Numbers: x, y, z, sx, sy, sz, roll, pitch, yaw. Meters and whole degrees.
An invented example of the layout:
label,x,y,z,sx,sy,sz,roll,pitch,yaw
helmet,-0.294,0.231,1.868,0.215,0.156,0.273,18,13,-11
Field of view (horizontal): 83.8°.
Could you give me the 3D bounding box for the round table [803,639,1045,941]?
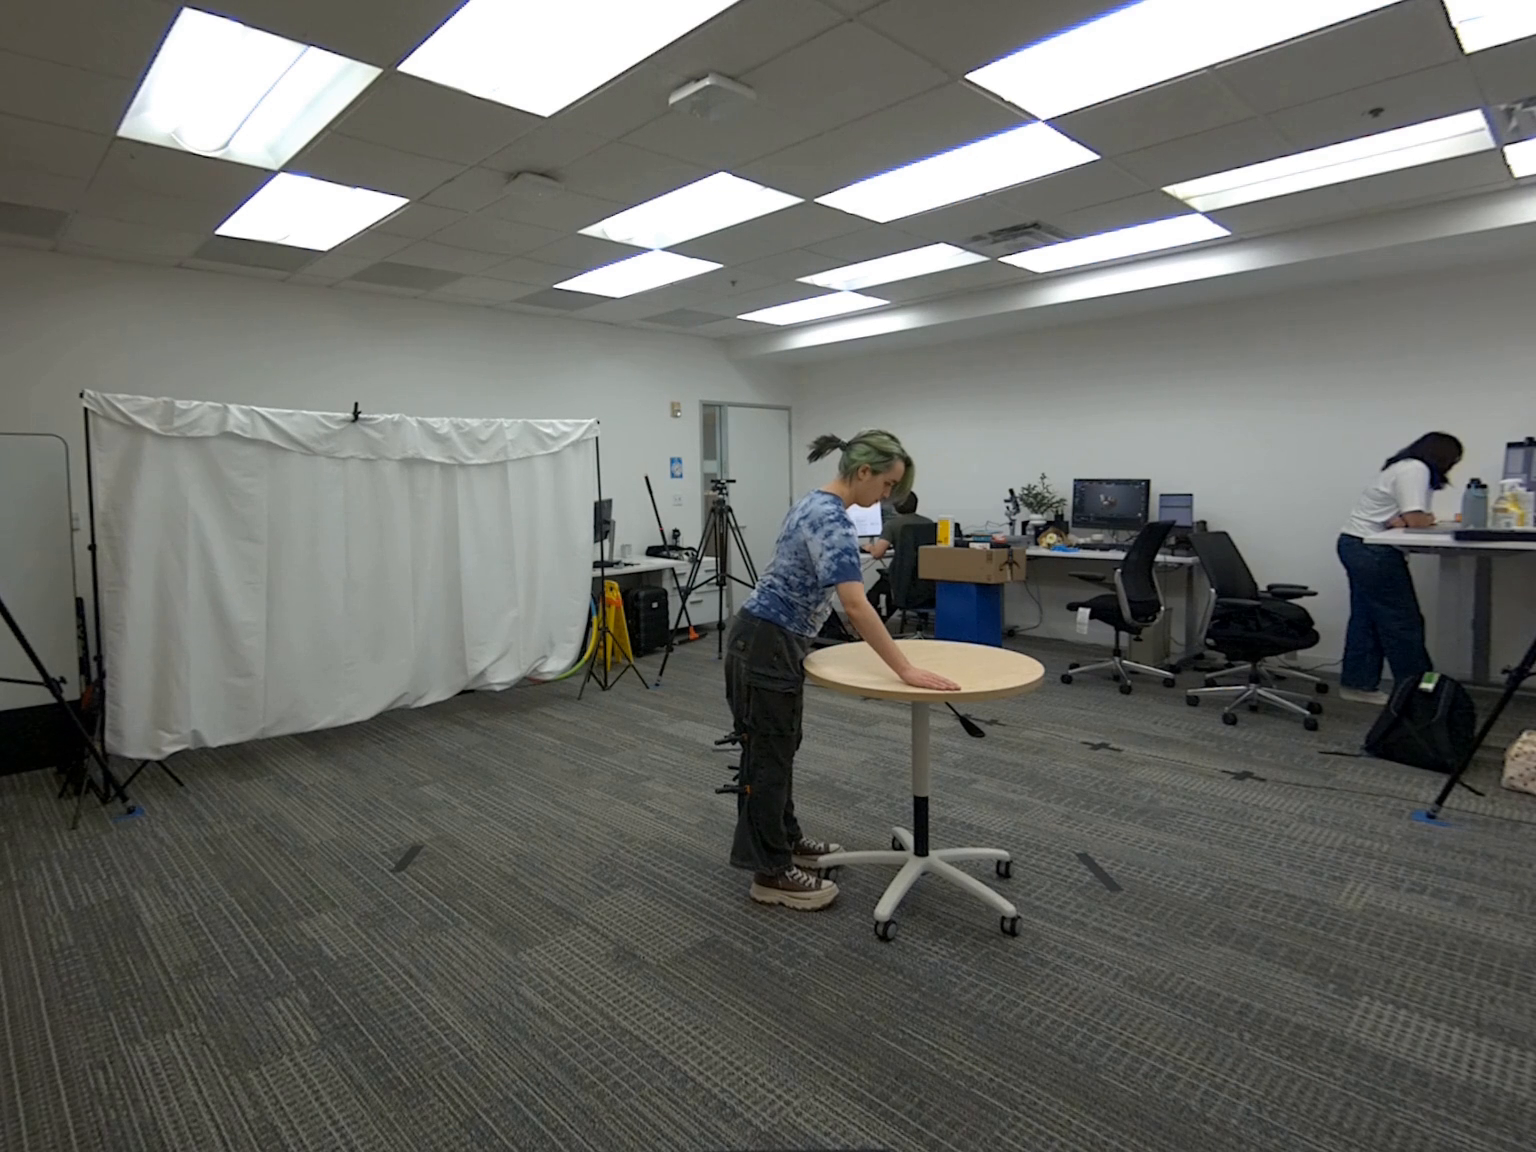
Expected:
label,x,y,z,sx,sy,sz,roll,pitch,yaw
round table,0.496,0.674,2.817,0.784,0.783,0.789,-1,5,-2
